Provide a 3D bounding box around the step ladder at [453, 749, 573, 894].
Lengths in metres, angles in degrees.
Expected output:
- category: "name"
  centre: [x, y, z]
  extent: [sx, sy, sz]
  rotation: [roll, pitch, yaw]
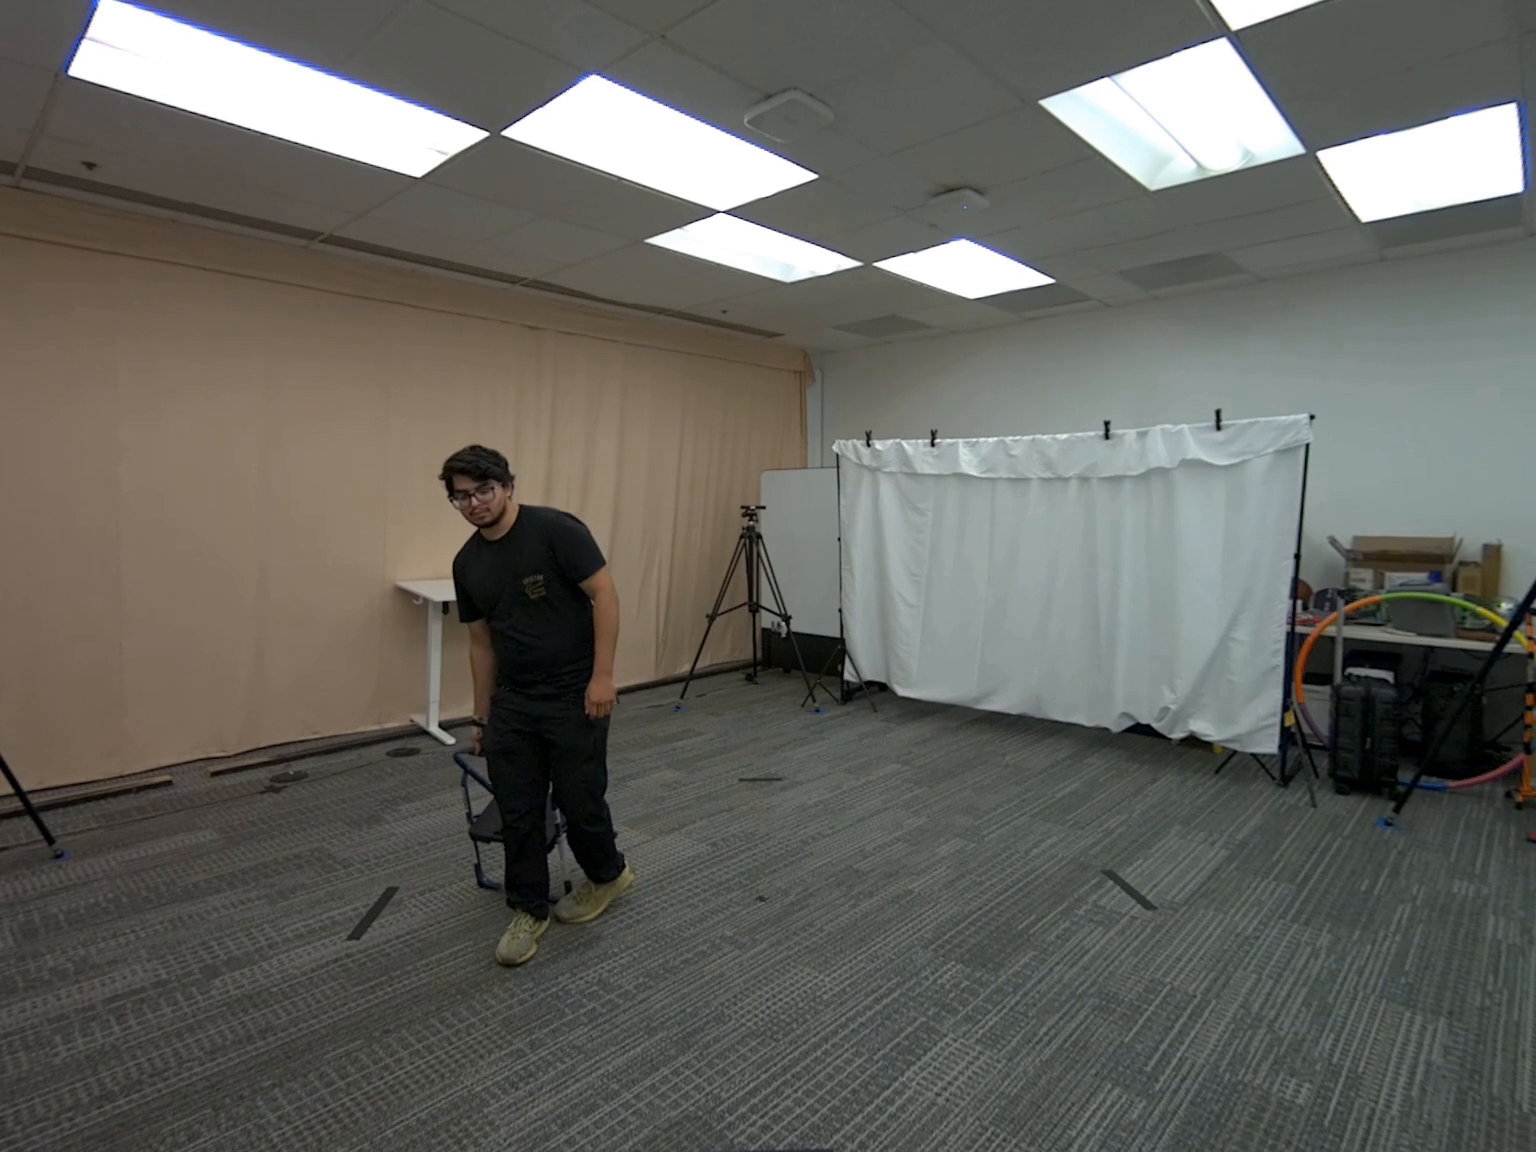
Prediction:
- category: "step ladder"
  centre: [-0.883, 0.809, 3.014]
  extent: [0.440, 0.594, 0.348]
  rotation: [0, 30, 22]
